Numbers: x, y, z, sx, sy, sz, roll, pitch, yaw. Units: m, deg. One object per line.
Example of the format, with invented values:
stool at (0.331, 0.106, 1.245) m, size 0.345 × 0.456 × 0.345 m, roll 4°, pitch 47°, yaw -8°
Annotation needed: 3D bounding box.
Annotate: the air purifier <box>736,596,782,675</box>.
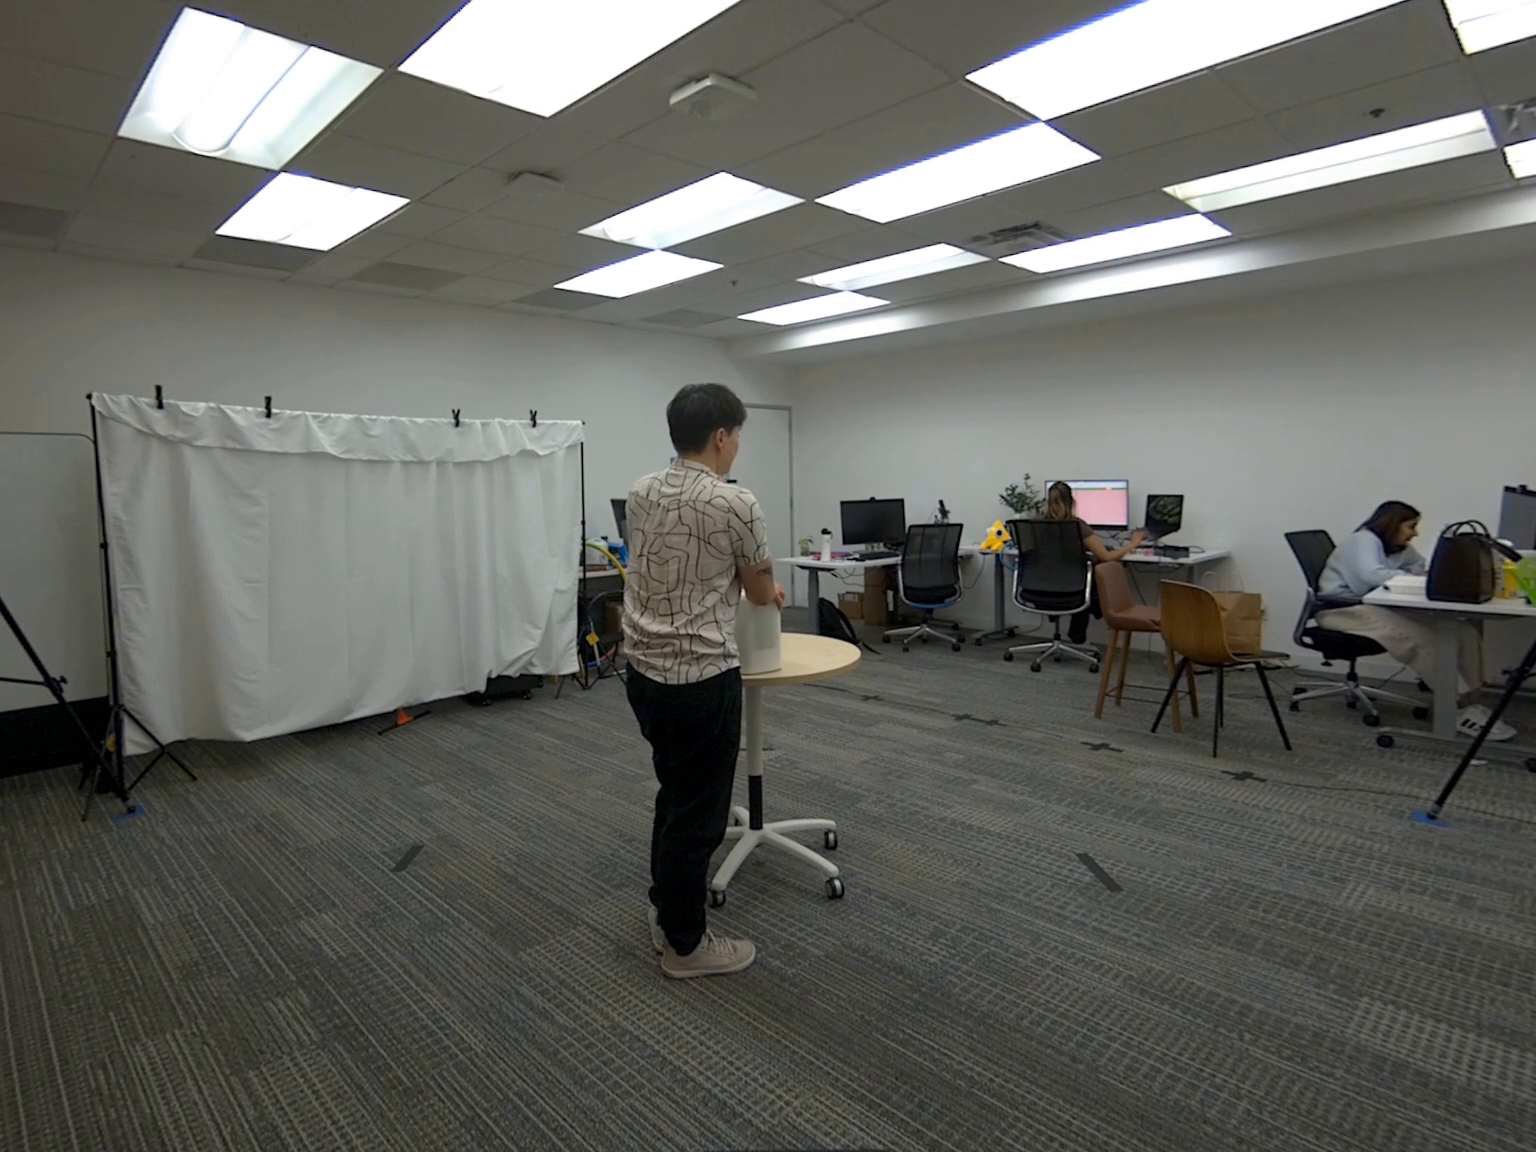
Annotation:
air purifier at (-0.057, 0.172, 2.790) m, size 0.168 × 0.264 × 0.176 m, roll -5°, pitch 8°, yaw -31°
